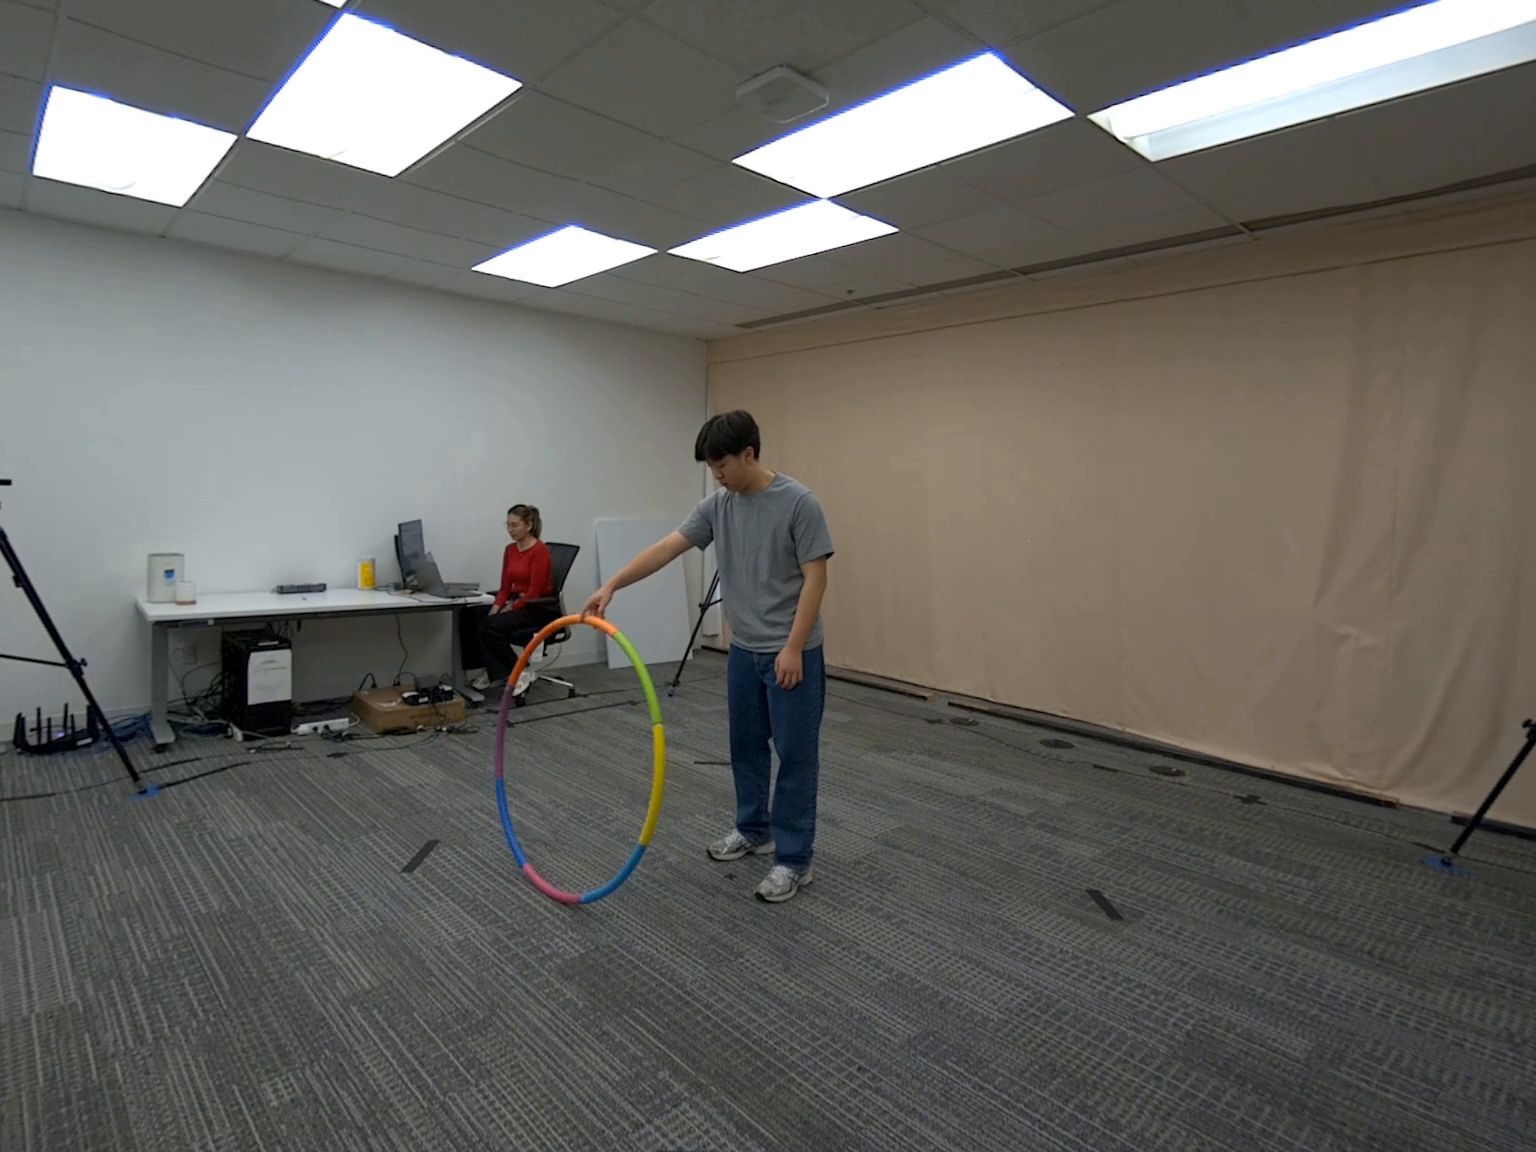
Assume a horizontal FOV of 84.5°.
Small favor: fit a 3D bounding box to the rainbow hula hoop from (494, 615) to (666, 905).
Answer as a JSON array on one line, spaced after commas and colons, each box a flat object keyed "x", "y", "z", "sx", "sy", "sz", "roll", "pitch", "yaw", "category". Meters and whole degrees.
[{"x": -0.708, "y": 0.625, "z": 2.953, "sx": 1.004, "sy": 0.981, "sz": 0.034, "roll": 5, "pitch": -4, "yaw": 44, "category": "rainbow hula hoop"}]
